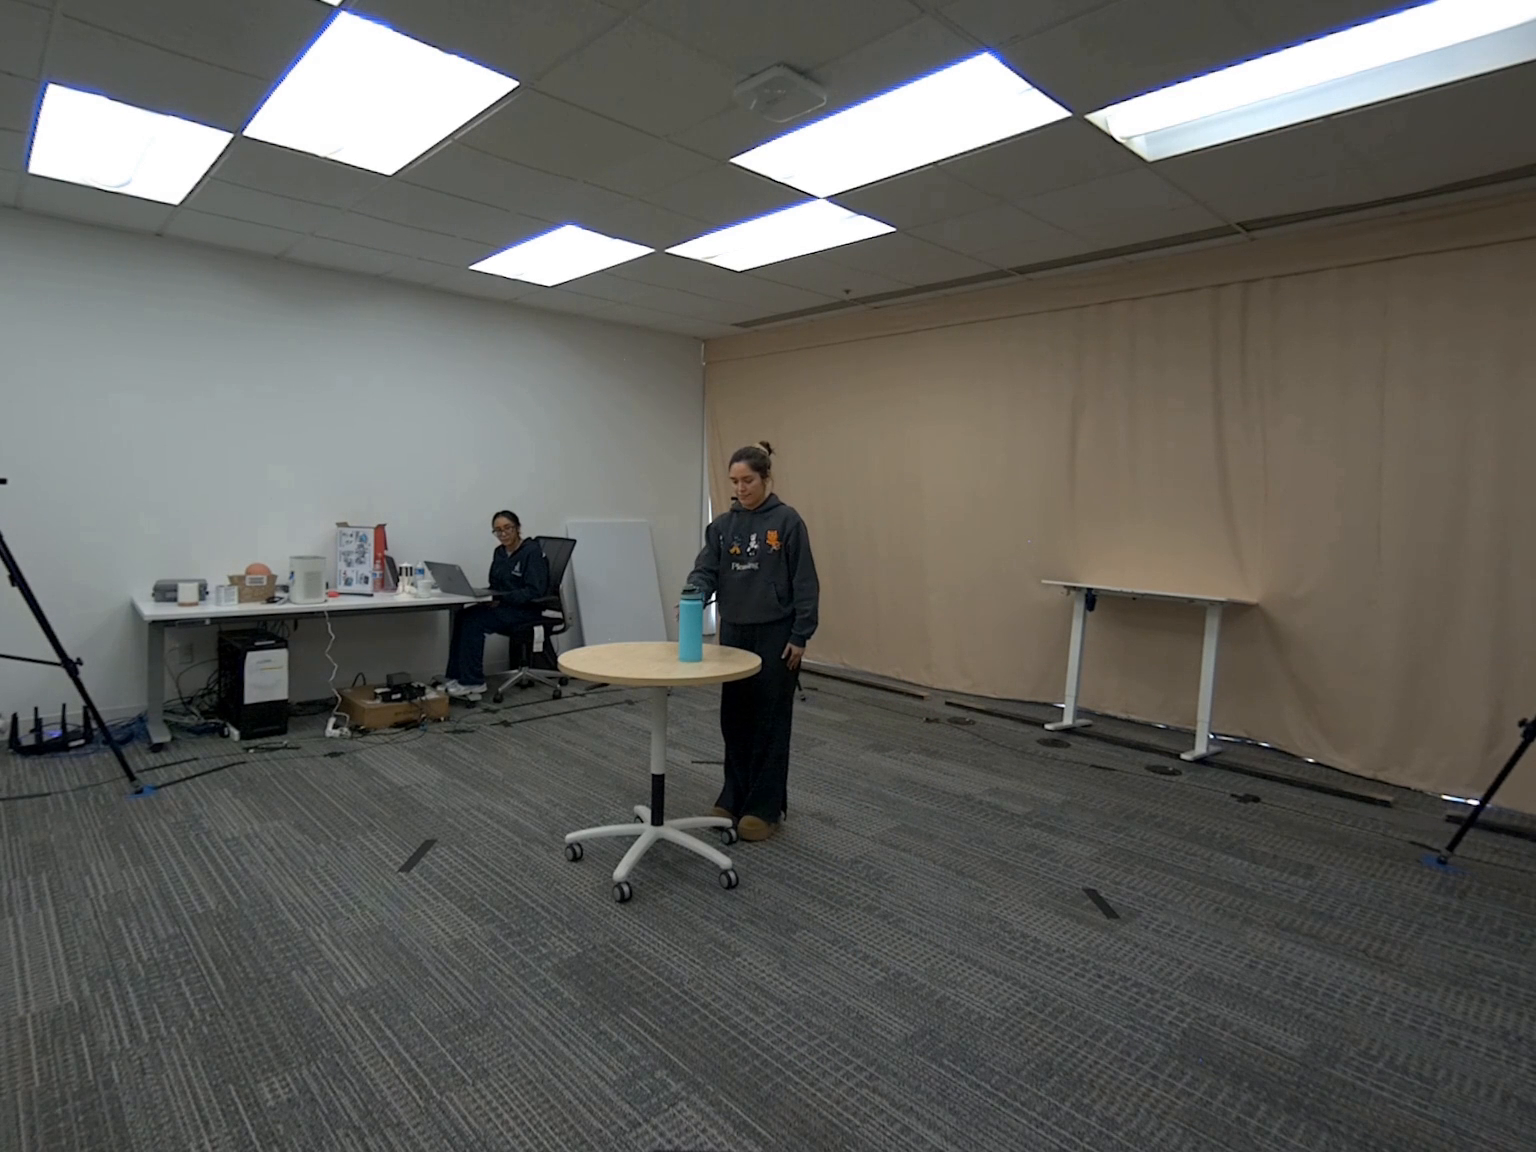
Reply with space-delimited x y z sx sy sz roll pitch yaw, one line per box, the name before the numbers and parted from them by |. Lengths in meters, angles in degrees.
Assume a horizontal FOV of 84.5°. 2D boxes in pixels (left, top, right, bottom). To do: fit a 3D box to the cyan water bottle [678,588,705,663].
cyan water bottle | -0.298 0.179 3.157 0.092 0.283 0.092 3 3 -2
